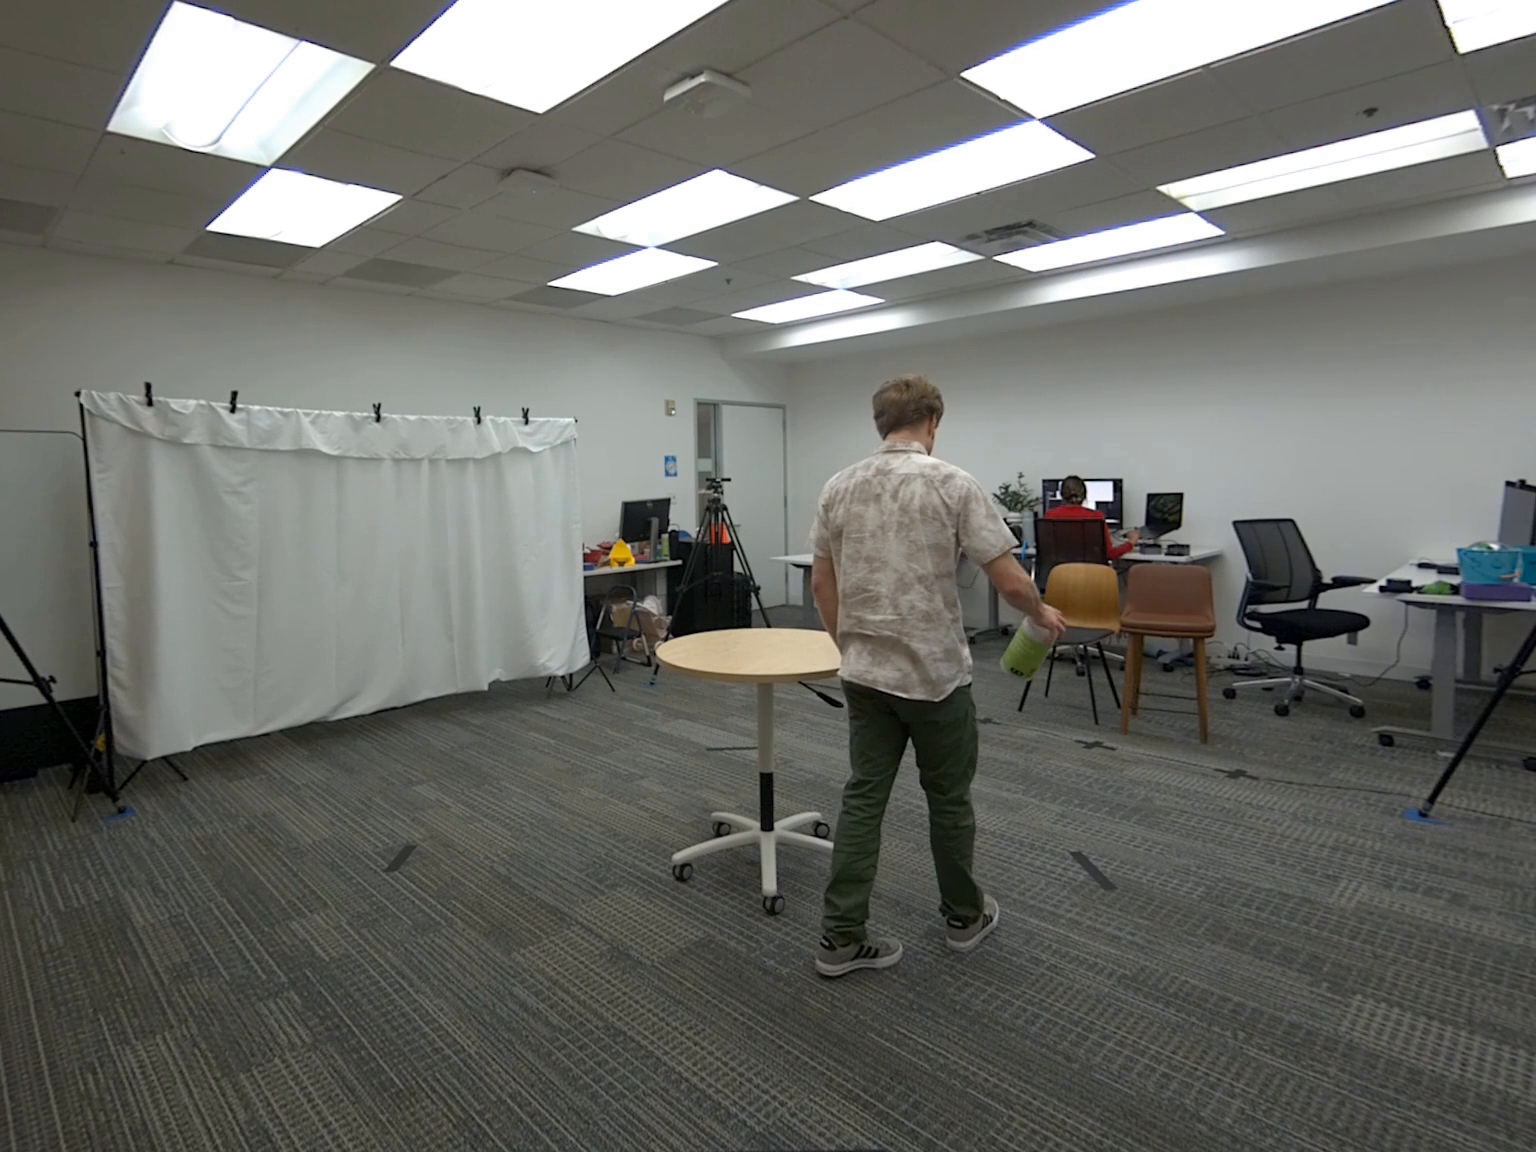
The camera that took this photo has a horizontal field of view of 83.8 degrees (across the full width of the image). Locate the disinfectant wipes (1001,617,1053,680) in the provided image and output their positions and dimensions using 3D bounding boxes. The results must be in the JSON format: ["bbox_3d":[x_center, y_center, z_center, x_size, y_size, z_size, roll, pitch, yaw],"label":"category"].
[{"bbox_3d":[0.817,0.218,2.628,0.117,0.213,0.121,5,42,-6],"label":"disinfectant wipes"}]
